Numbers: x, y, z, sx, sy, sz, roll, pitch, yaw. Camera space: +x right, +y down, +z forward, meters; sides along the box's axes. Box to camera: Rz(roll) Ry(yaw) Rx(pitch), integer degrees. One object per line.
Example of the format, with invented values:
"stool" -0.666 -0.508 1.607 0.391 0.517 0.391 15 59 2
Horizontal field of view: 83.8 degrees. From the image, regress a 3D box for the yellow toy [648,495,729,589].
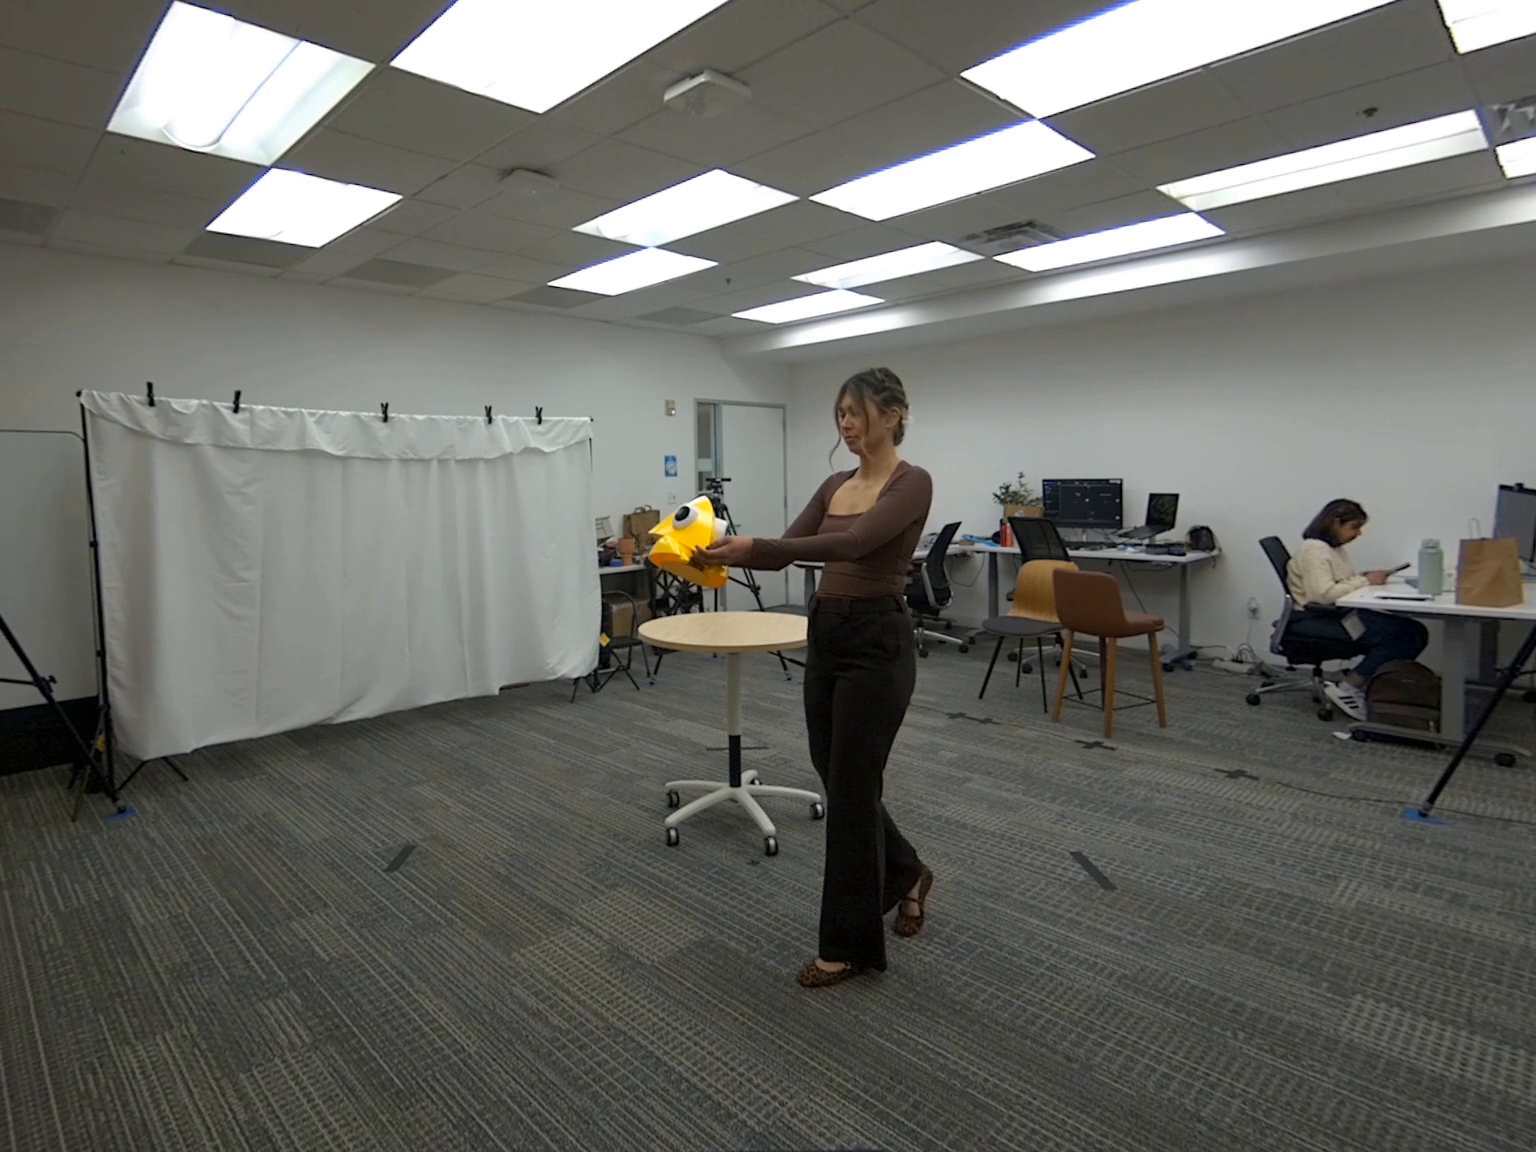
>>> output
"yellow toy" -0.160 -0.114 2.180 0.200 0.233 0.196 24 -21 -22
